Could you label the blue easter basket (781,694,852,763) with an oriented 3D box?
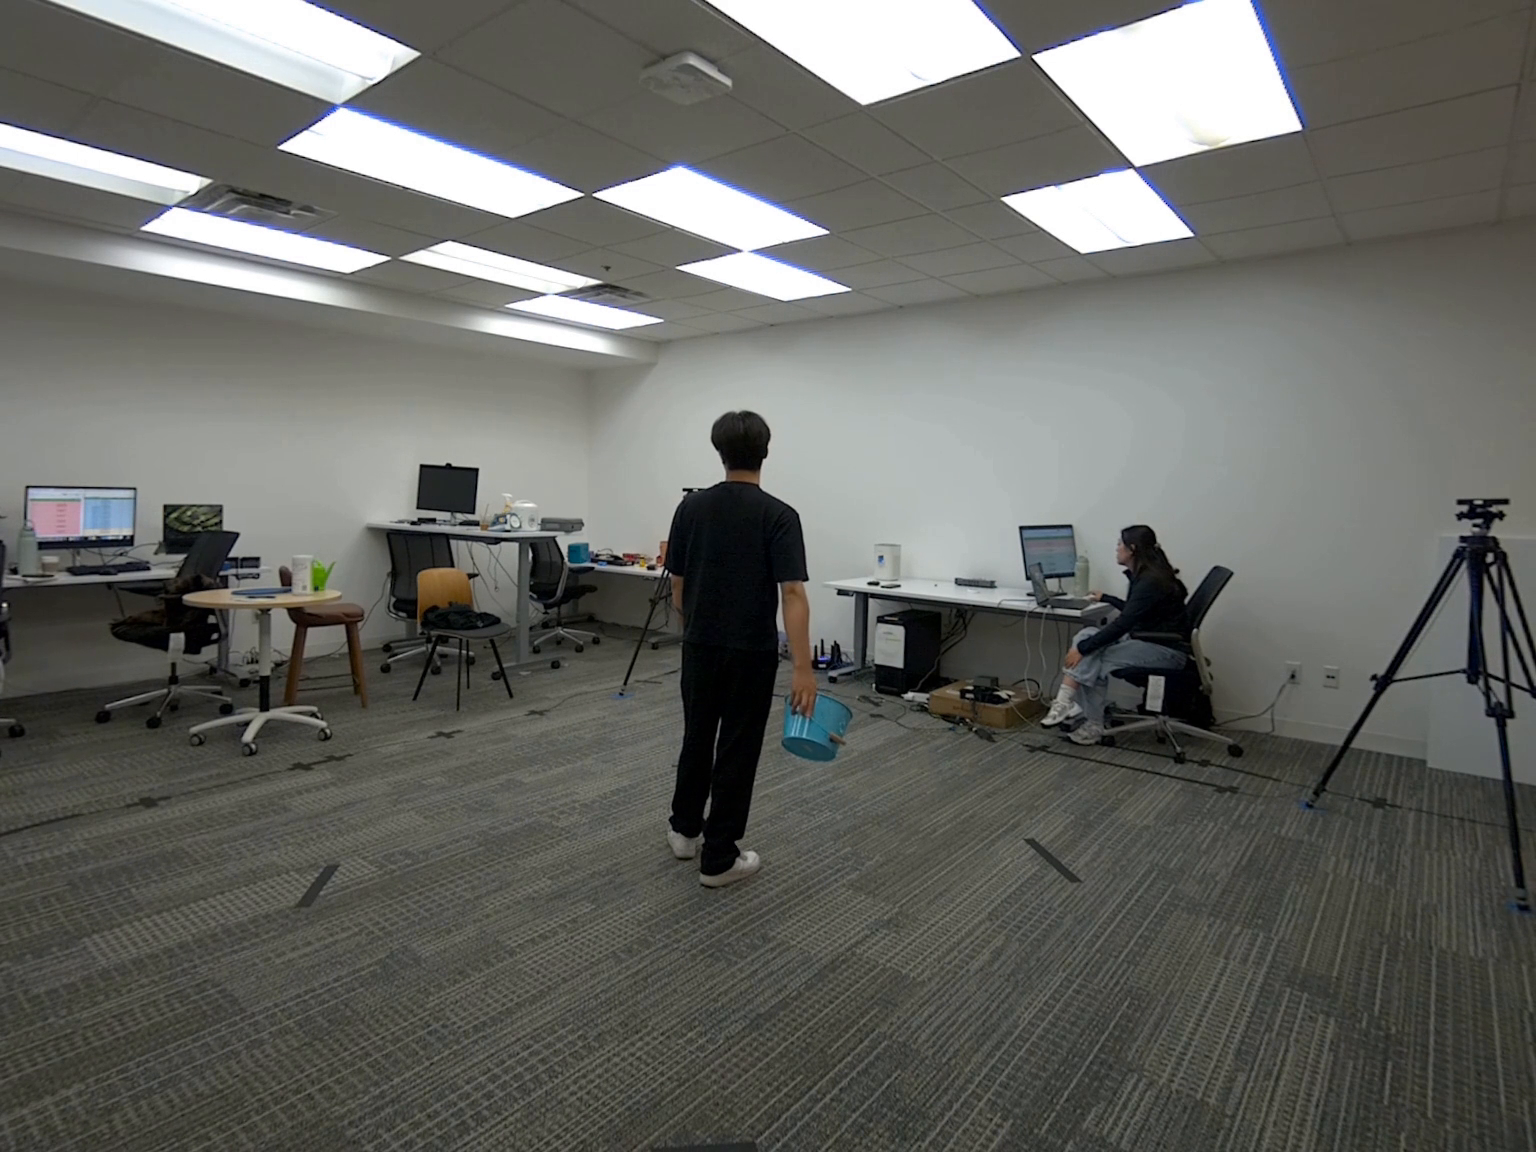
[{"bbox_3d":[0.145,0.496,2.819,0.246,0.158,0.237,14,-31,7],"label":"blue easter basket"}]
